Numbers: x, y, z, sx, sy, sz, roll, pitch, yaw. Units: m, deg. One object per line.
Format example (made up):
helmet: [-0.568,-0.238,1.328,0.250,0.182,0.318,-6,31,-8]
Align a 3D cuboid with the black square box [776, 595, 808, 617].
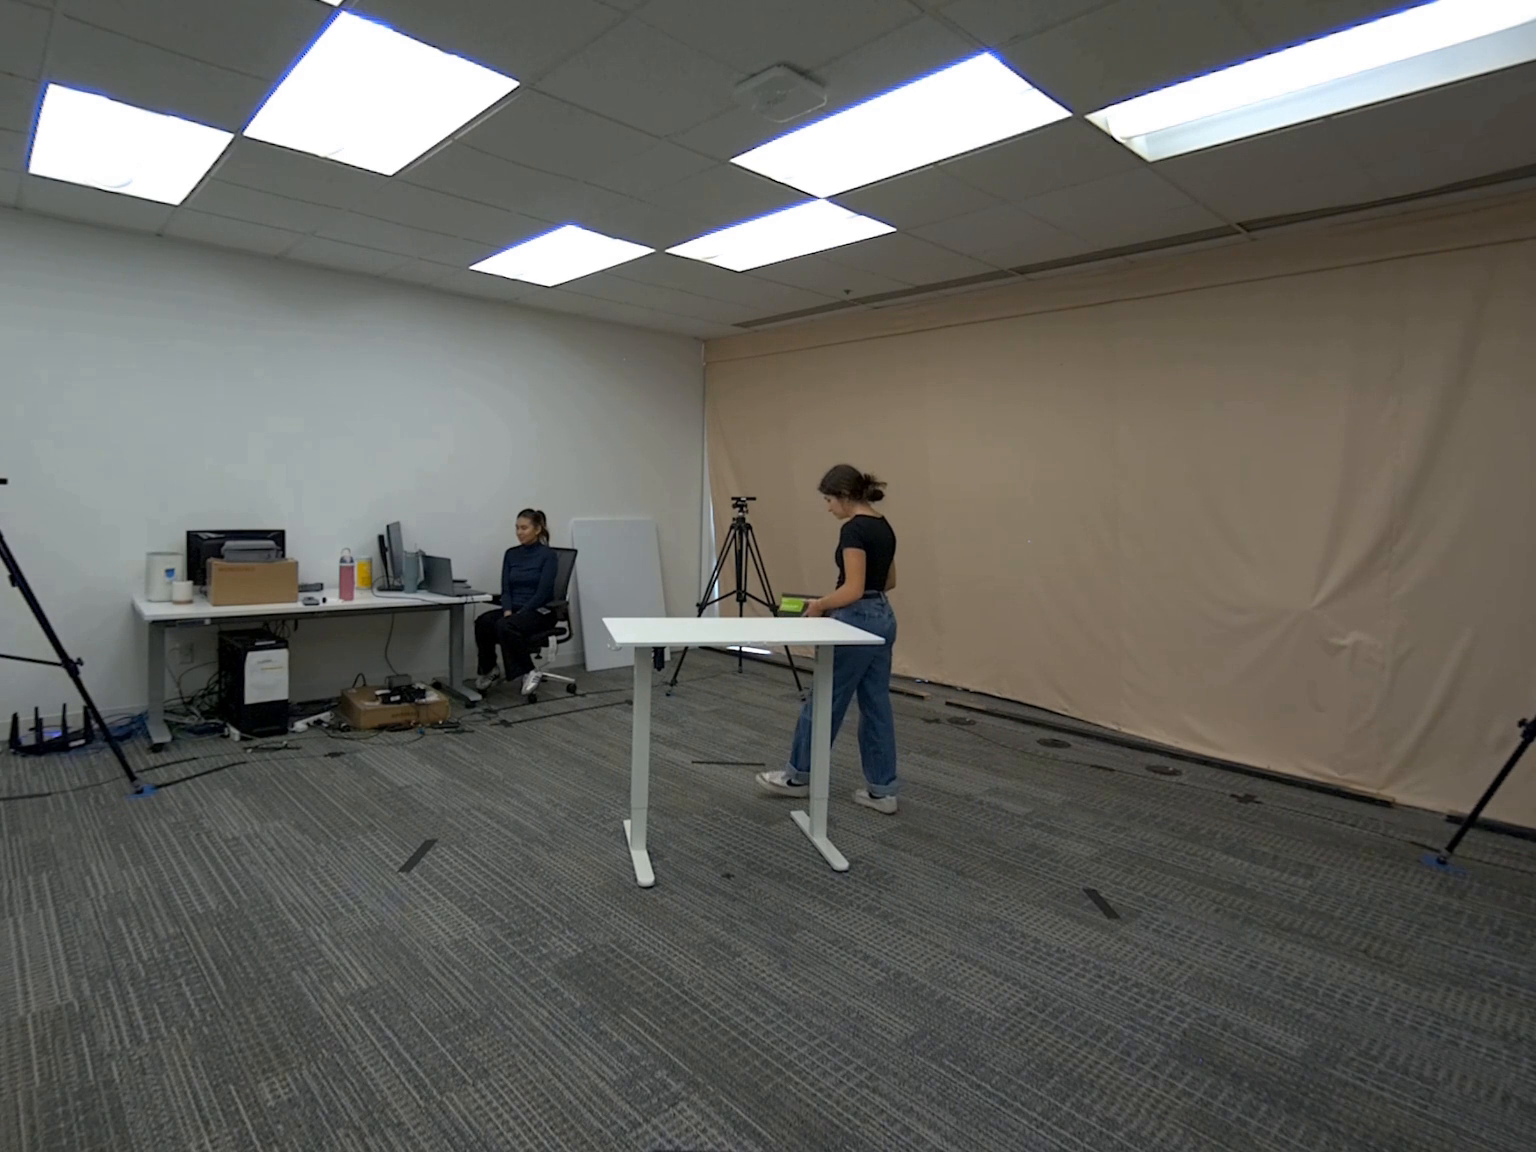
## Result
black square box: [0.193,0.191,4.021,0.232,0.157,0.211,4,-16,26]
